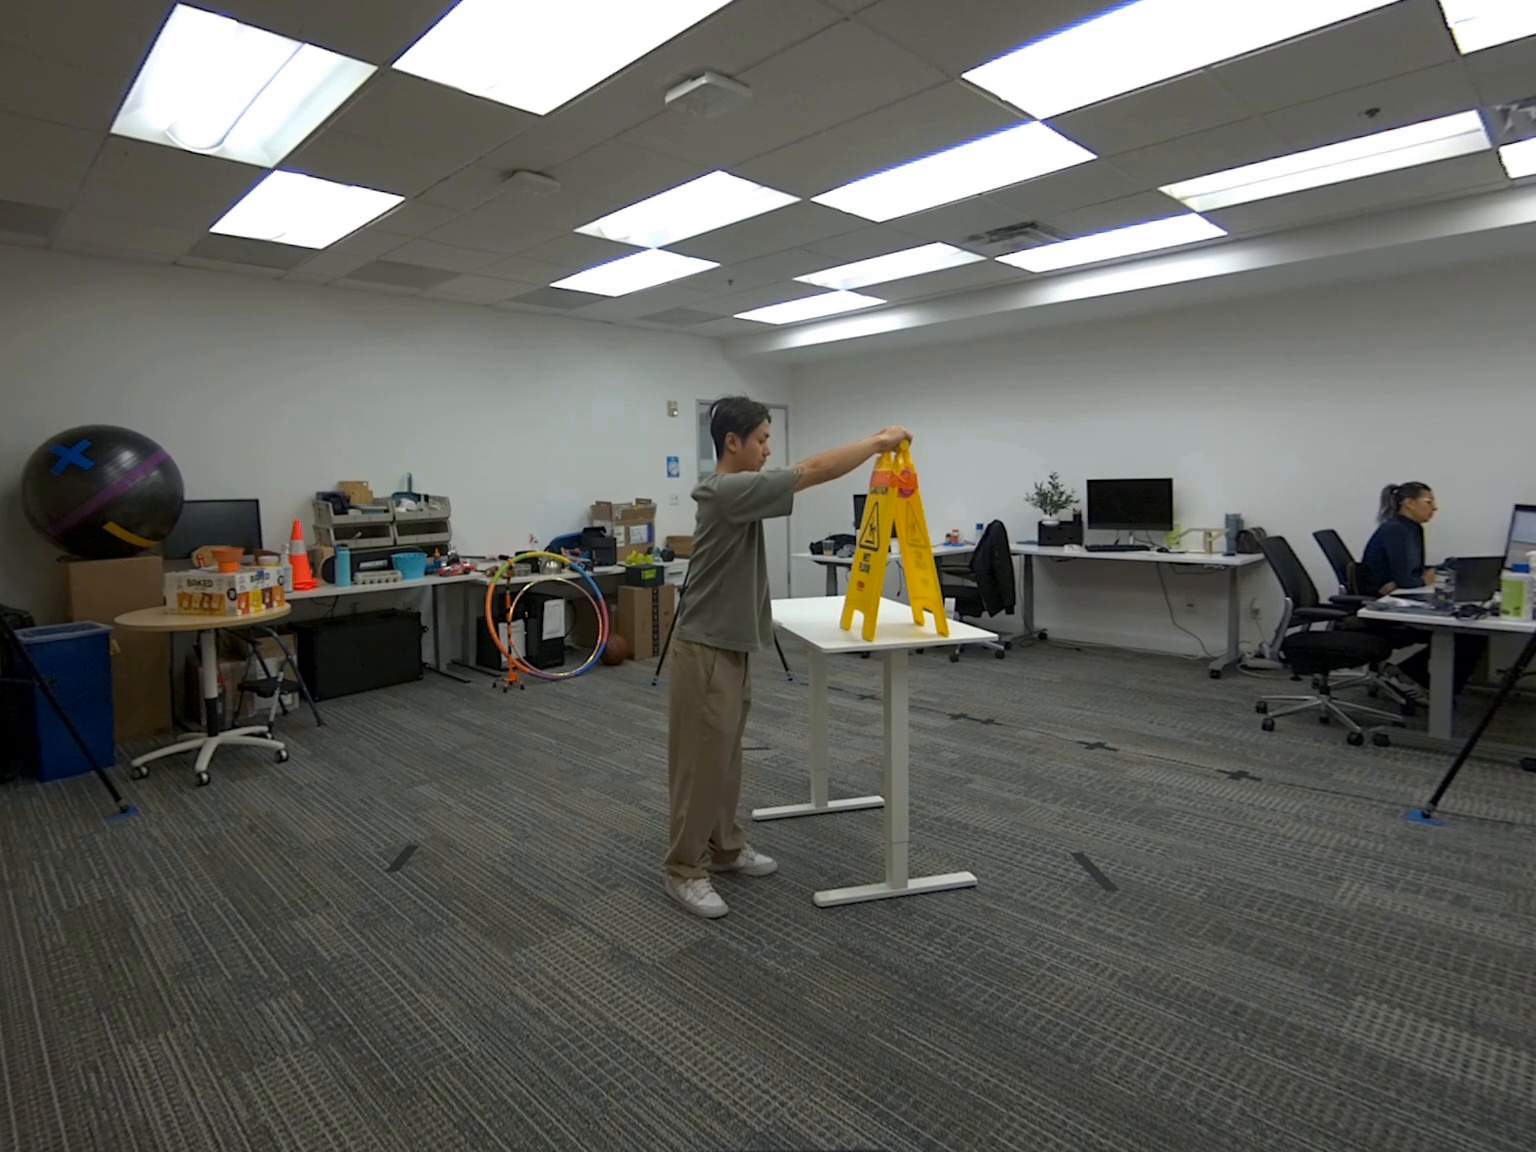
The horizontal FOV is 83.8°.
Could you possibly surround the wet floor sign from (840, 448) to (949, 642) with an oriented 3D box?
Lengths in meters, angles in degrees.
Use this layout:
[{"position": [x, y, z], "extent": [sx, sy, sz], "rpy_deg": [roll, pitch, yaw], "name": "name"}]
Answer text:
[{"position": [0.417, -0.132, 2.815], "extent": [0.286, 0.644, 0.286], "rpy_deg": [-1, 4, -12], "name": "wet floor sign"}]
